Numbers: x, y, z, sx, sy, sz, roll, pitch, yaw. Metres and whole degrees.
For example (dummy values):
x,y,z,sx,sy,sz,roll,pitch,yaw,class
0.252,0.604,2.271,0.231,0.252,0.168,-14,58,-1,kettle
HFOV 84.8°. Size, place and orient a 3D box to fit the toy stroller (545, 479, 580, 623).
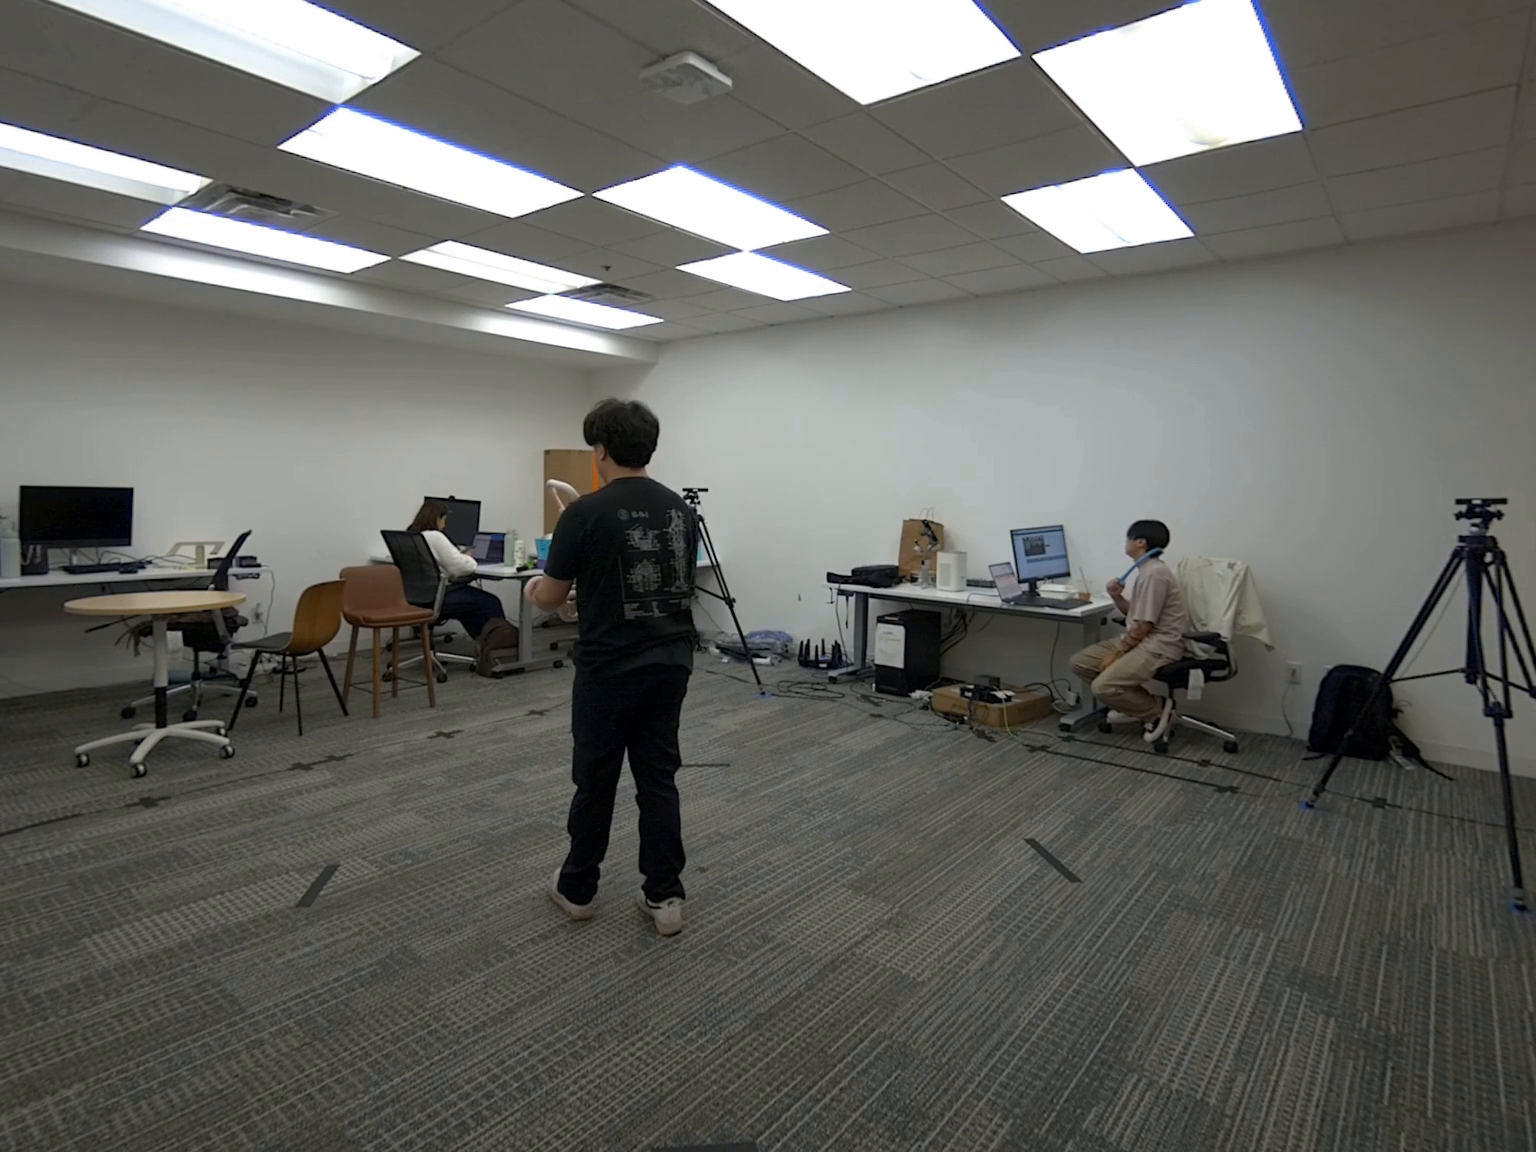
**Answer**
x,y,z,sx,sy,sz,roll,pitch,yaw,class
-0.659,-0.064,3.084,0.330,0.533,0.292,6,4,-40,toy stroller
